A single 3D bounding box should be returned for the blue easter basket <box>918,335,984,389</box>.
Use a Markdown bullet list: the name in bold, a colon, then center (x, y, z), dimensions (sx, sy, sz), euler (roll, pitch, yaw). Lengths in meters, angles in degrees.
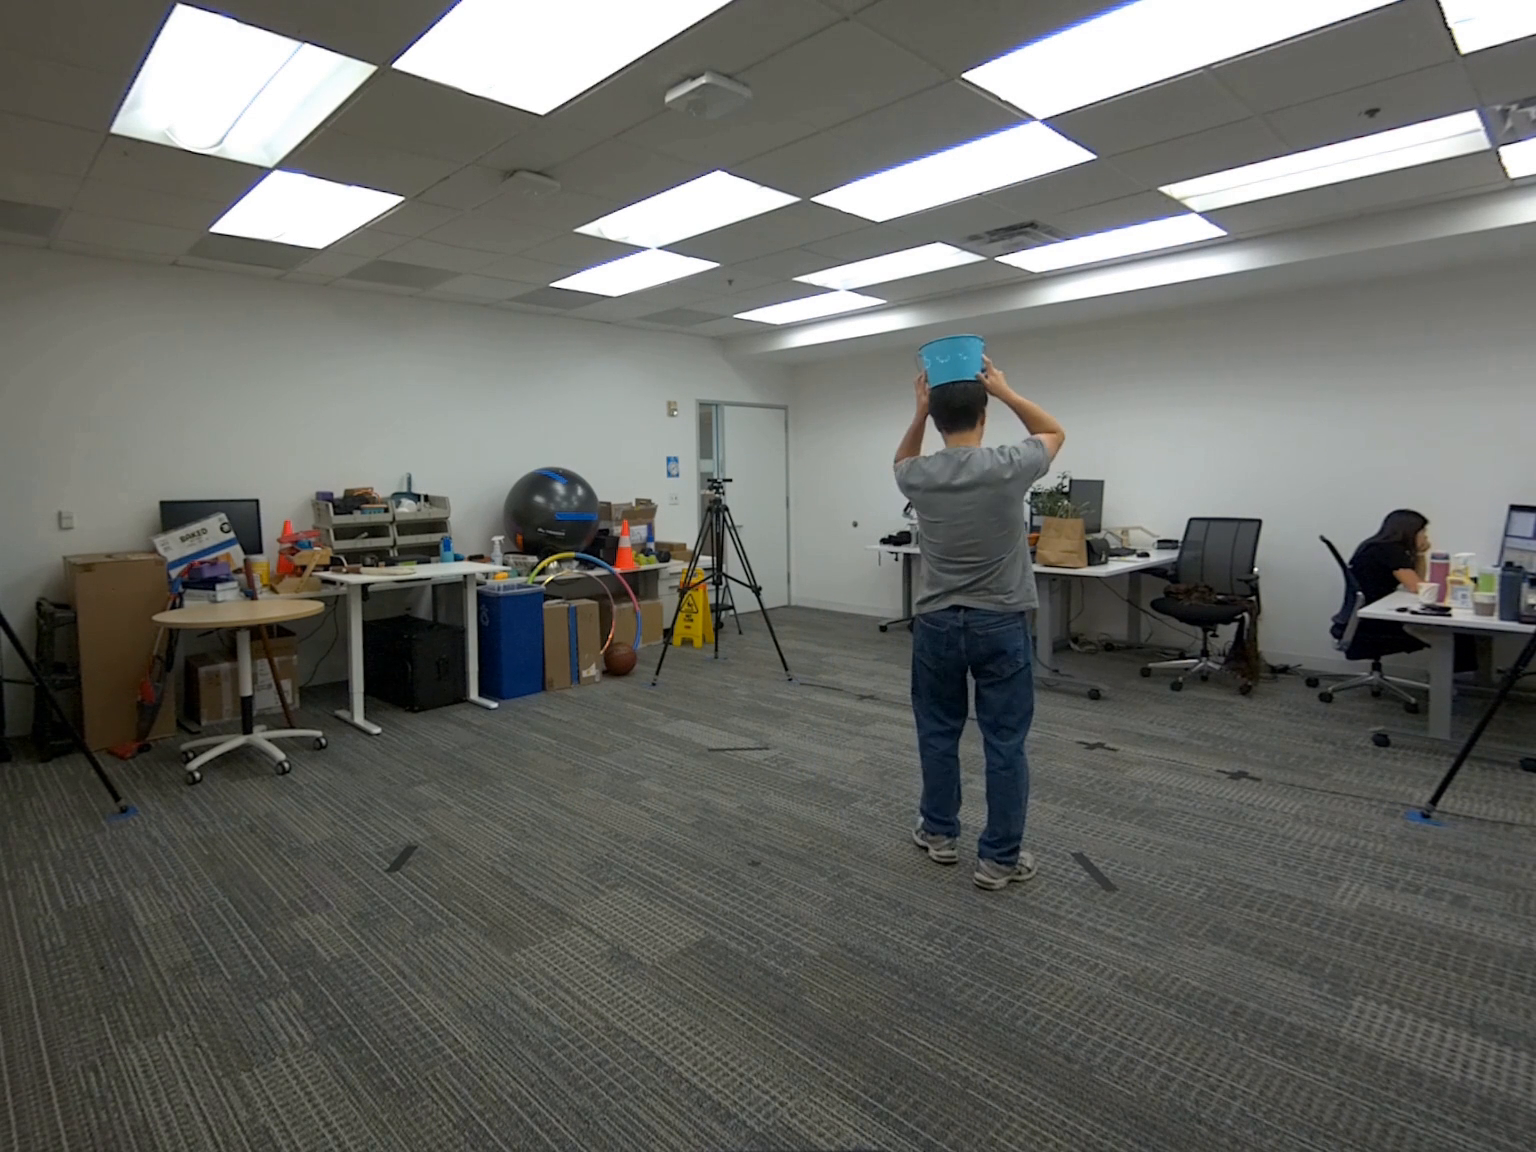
- **blue easter basket**: center (0.676, -0.749, 3.062), dimensions (0.243, 0.157, 0.242), euler (-3, -6, -2)
